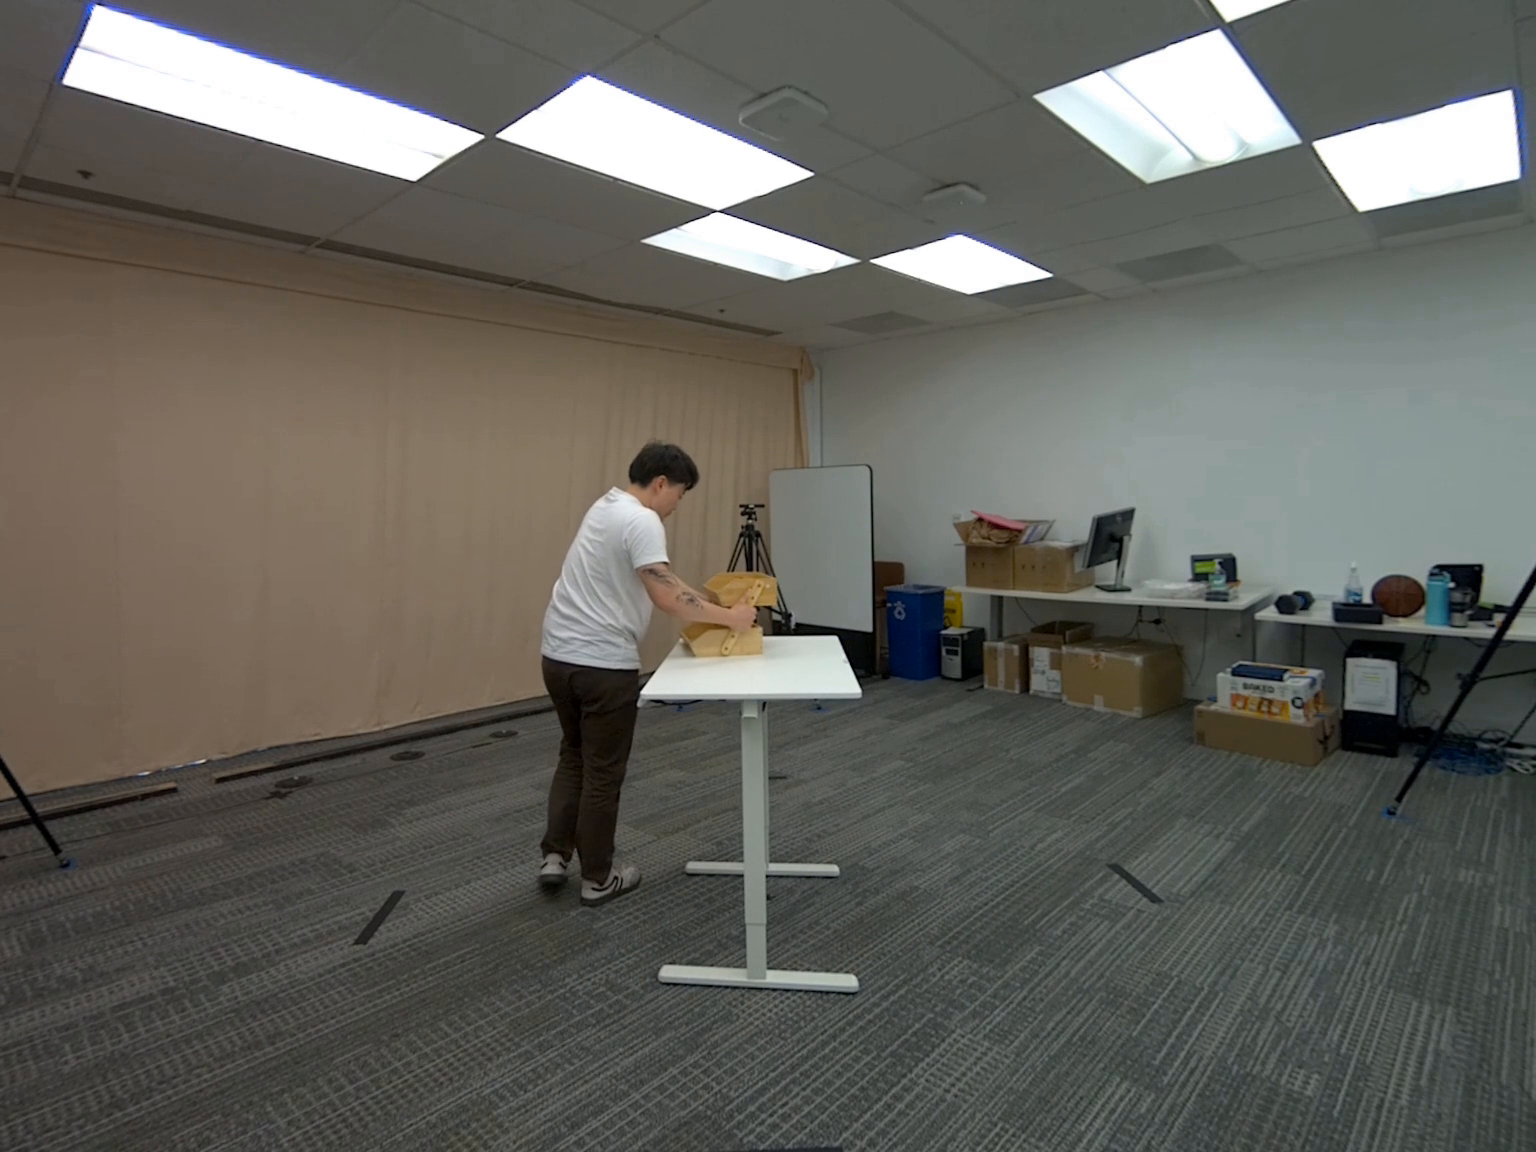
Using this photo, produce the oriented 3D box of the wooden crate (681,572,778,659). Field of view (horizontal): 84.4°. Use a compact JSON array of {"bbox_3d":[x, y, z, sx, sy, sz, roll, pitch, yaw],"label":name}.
[{"bbox_3d":[-0.153,0.125,2.993,0.299,0.273,0.329,1,3,-11],"label":"wooden crate"}]
